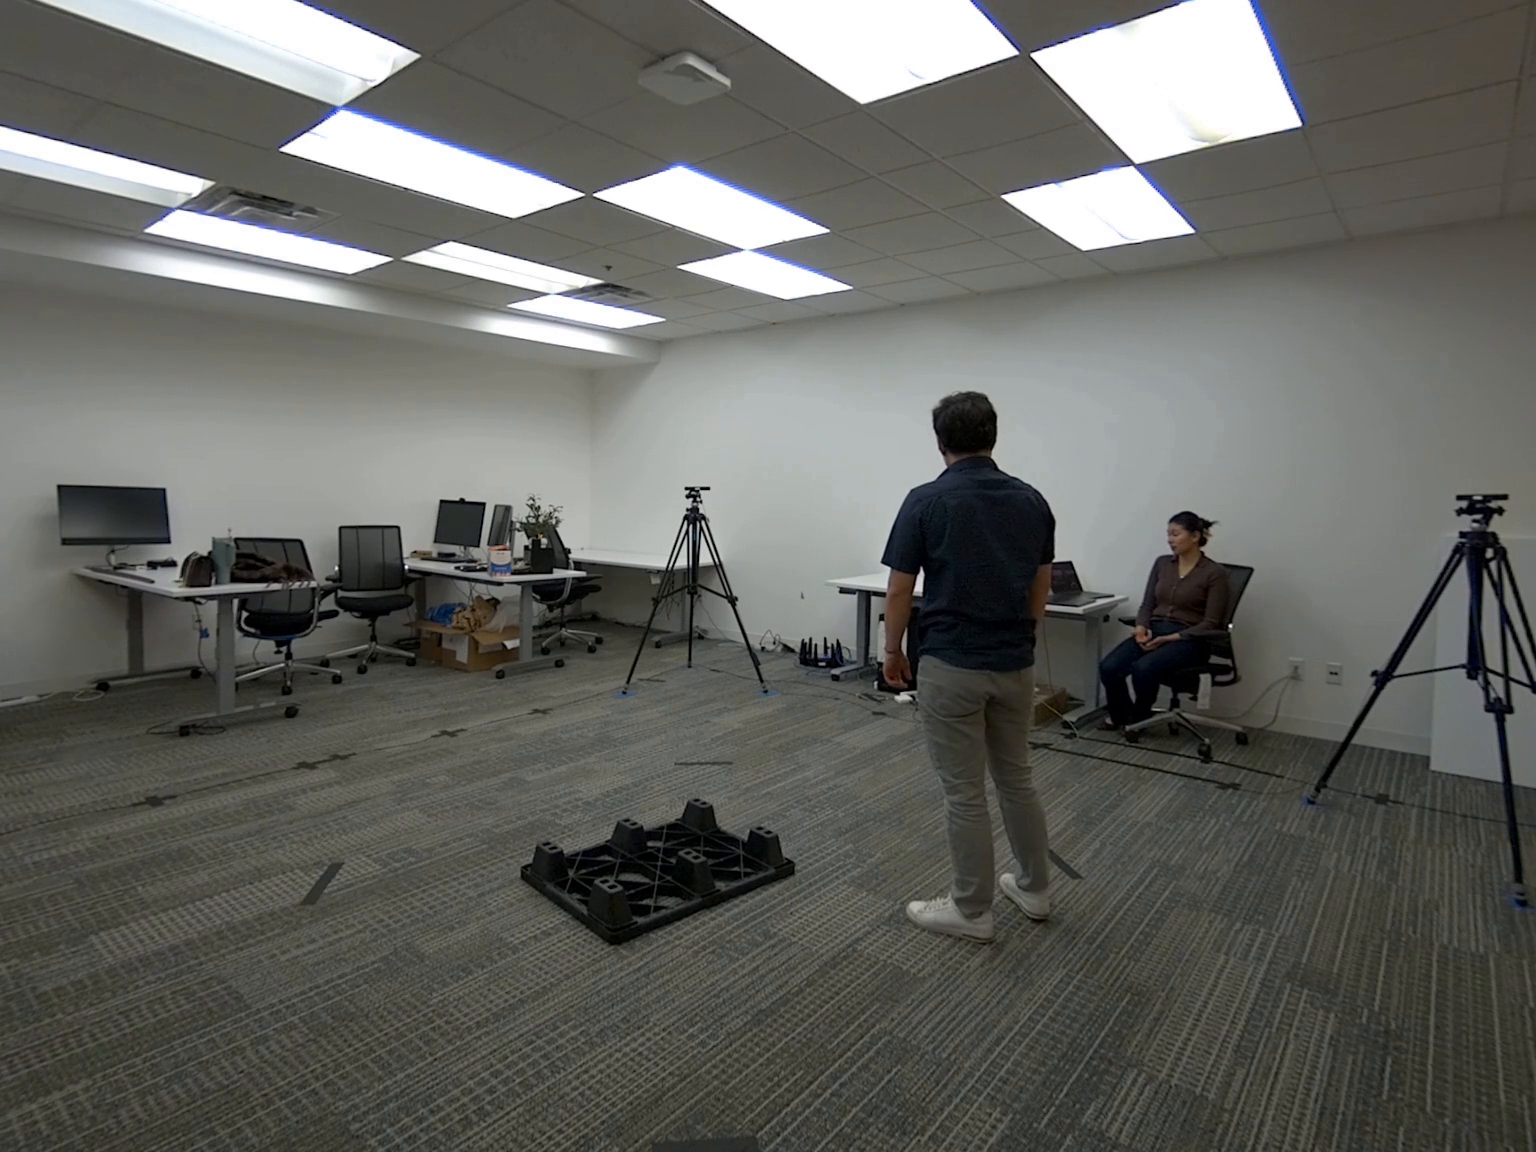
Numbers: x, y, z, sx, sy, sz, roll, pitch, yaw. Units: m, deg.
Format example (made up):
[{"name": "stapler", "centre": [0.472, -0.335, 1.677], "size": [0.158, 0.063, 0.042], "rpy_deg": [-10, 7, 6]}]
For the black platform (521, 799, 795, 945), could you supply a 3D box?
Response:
[{"name": "black platform", "centre": [-0.397, 1.002, 3.047], "size": [0.781, 0.143, 0.626], "rpy_deg": [-4, 8, -43]}]
